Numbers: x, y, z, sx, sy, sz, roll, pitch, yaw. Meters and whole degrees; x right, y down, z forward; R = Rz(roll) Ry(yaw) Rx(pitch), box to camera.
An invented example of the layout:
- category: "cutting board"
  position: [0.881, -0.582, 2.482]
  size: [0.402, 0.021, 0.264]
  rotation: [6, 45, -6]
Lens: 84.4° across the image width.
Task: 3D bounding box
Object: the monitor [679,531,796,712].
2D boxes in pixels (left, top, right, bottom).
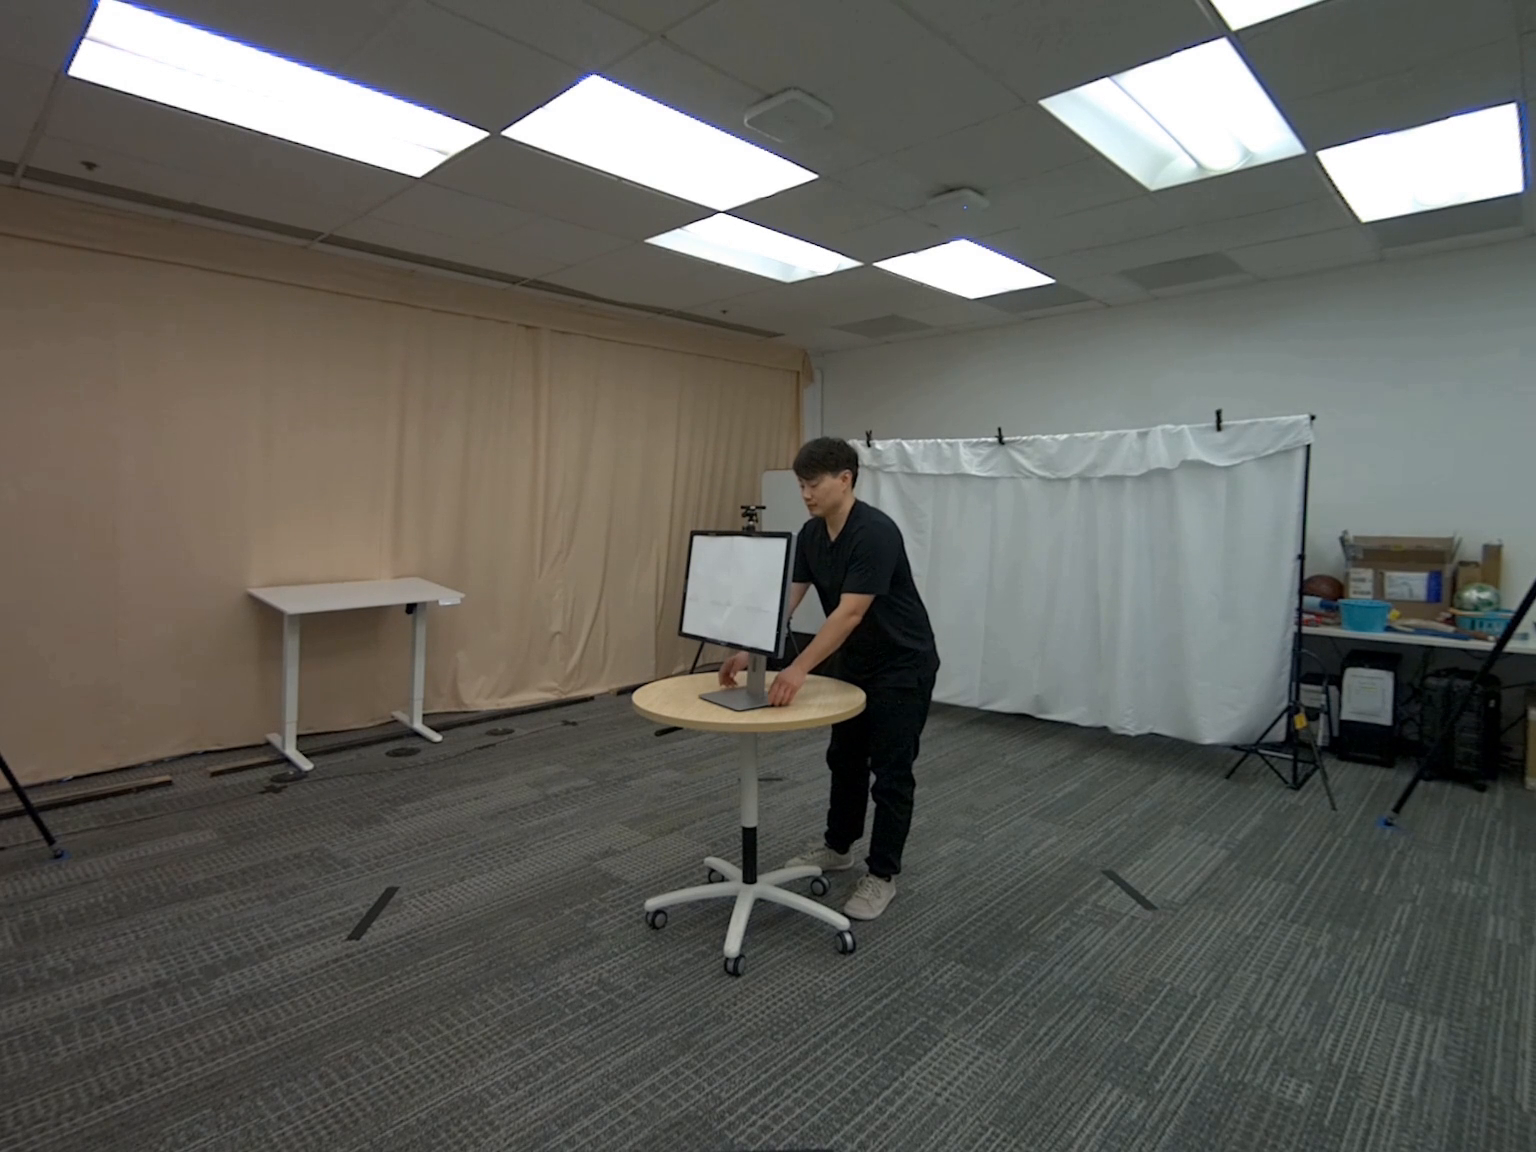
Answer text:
- category: "monitor"
  position: [-0.070, 0.132, 2.664]
  size: [0.182, 0.521, 0.556]
  rotation: [-5, 5, -36]
